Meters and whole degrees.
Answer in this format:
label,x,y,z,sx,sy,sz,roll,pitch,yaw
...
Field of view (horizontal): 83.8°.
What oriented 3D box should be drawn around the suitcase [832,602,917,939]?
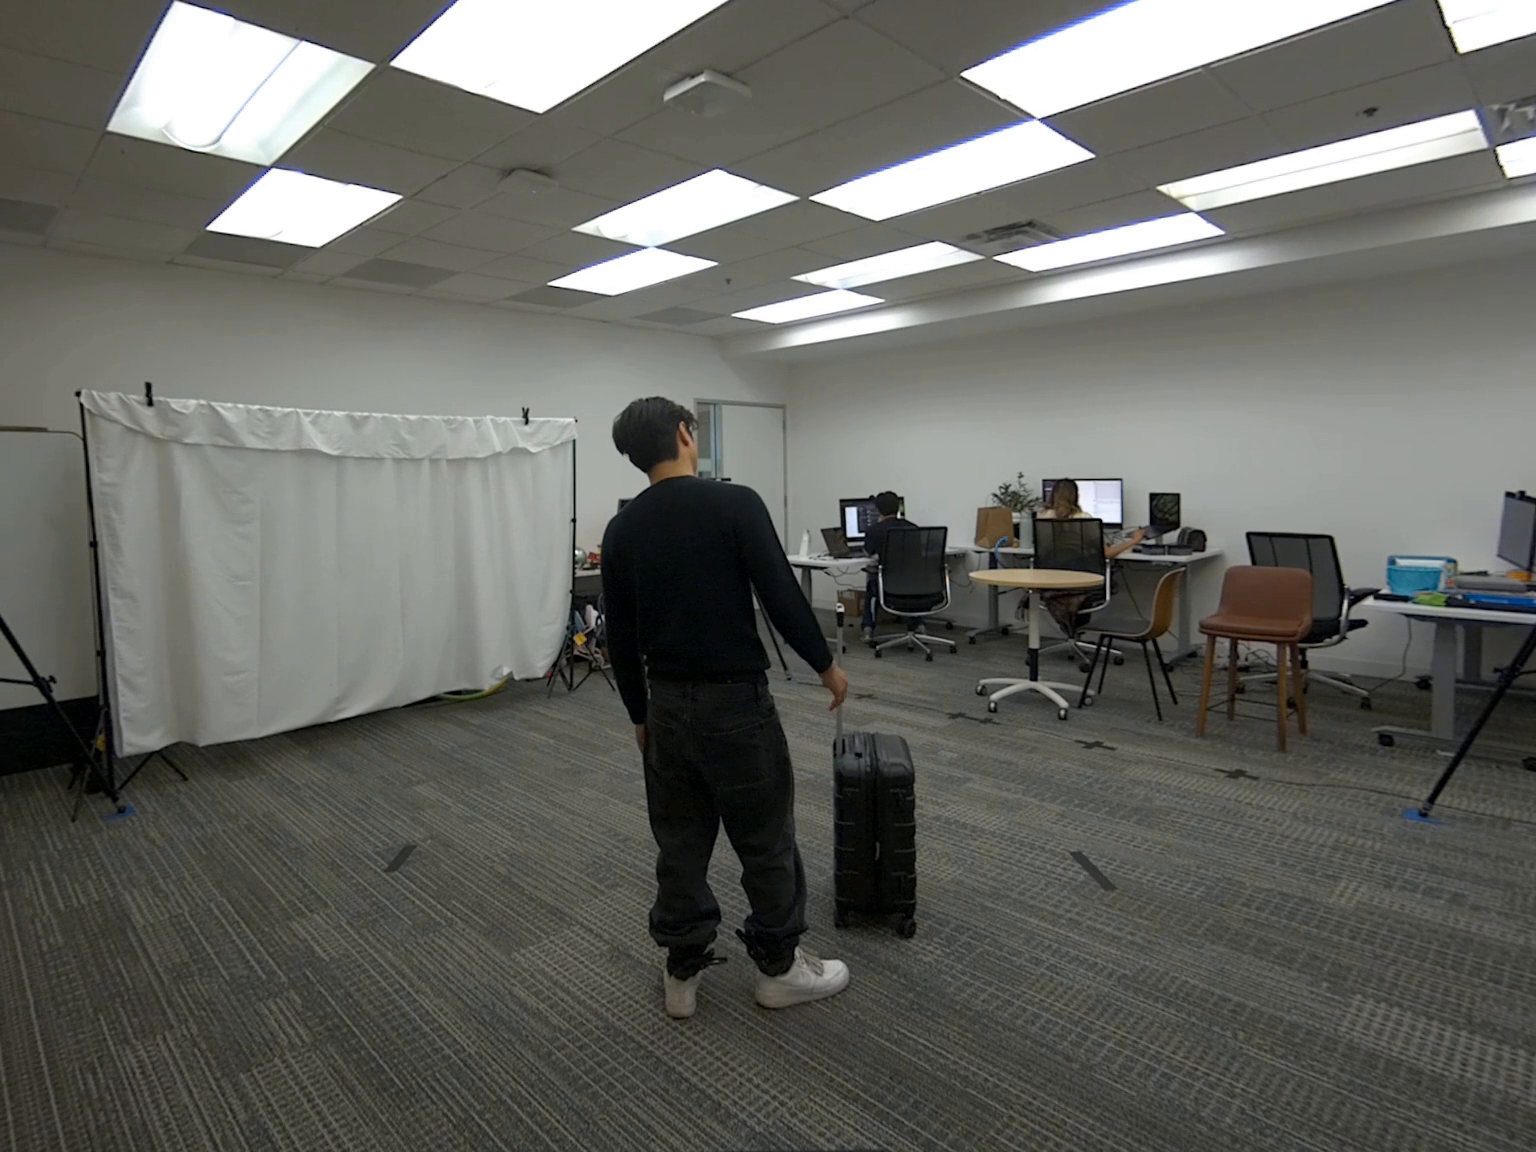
label,x,y,z,sx,sy,sz,roll,pitch,yaw
suitcase,0.344,0.597,2.735,0.258,0.974,0.383,1,5,4
